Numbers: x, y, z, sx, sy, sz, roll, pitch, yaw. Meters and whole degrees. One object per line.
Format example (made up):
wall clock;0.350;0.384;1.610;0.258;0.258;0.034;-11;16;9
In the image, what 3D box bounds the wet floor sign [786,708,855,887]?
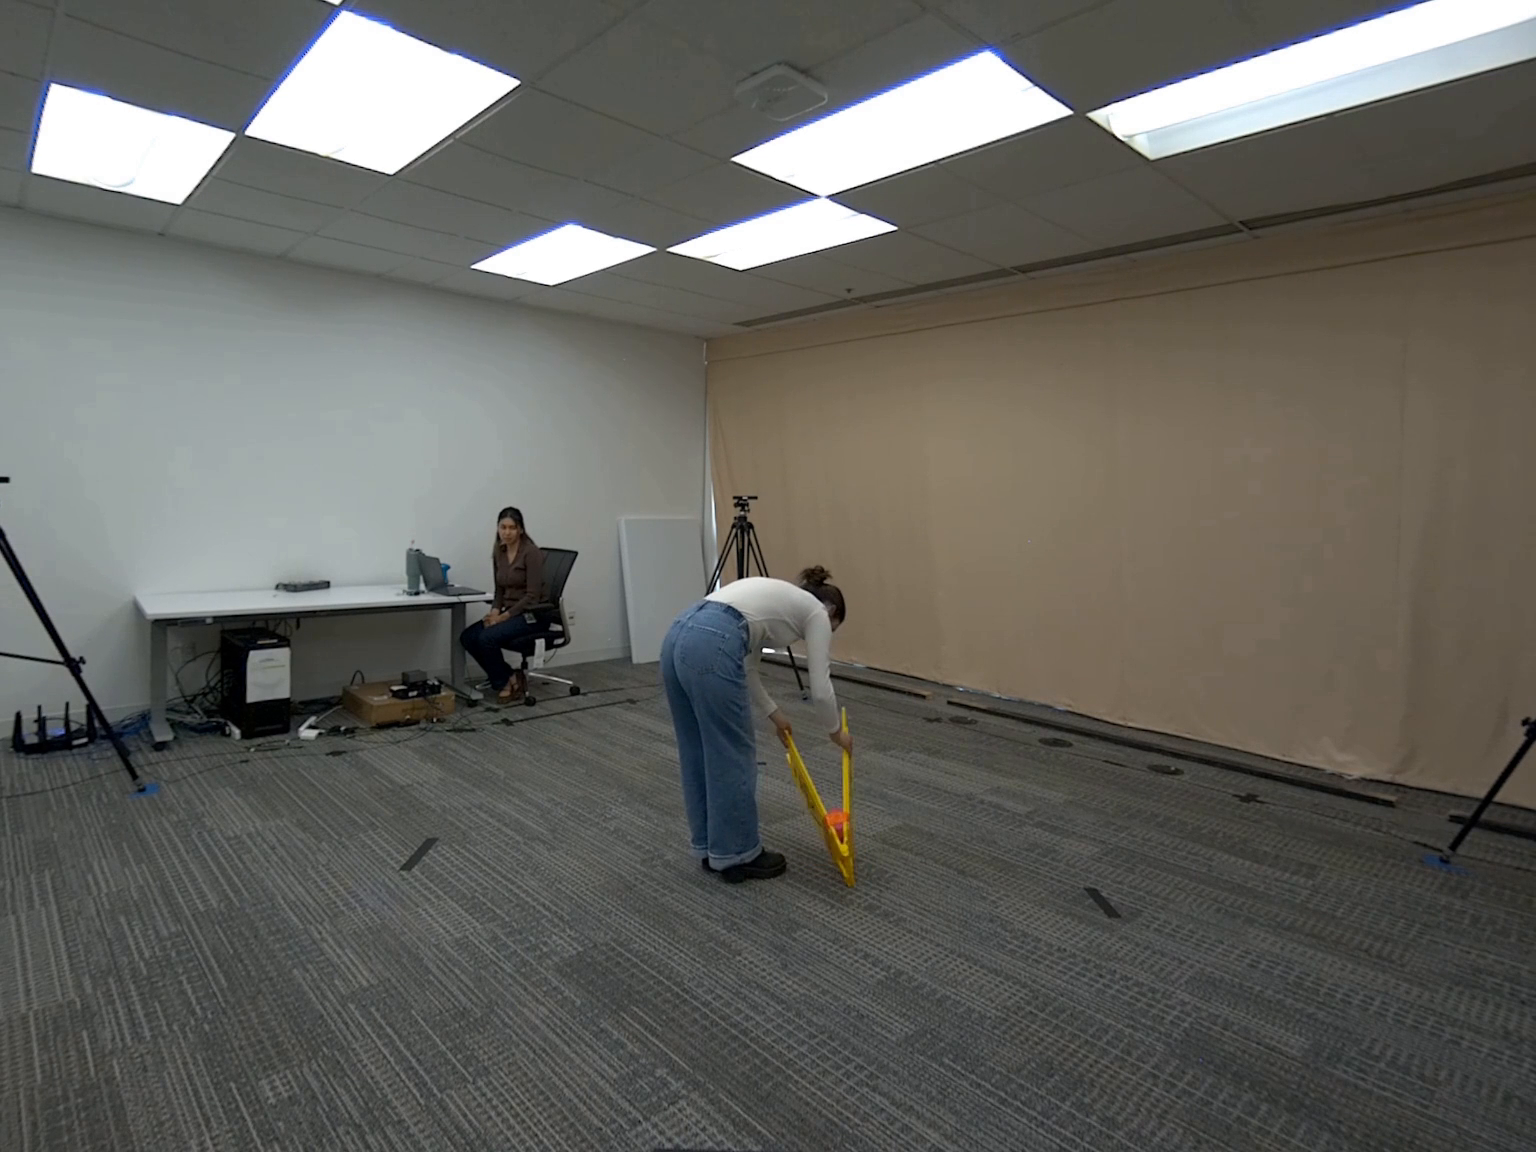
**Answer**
wet floor sign;0.234;0.861;3.230;0.290;0.275;0.662;-12;37;1
